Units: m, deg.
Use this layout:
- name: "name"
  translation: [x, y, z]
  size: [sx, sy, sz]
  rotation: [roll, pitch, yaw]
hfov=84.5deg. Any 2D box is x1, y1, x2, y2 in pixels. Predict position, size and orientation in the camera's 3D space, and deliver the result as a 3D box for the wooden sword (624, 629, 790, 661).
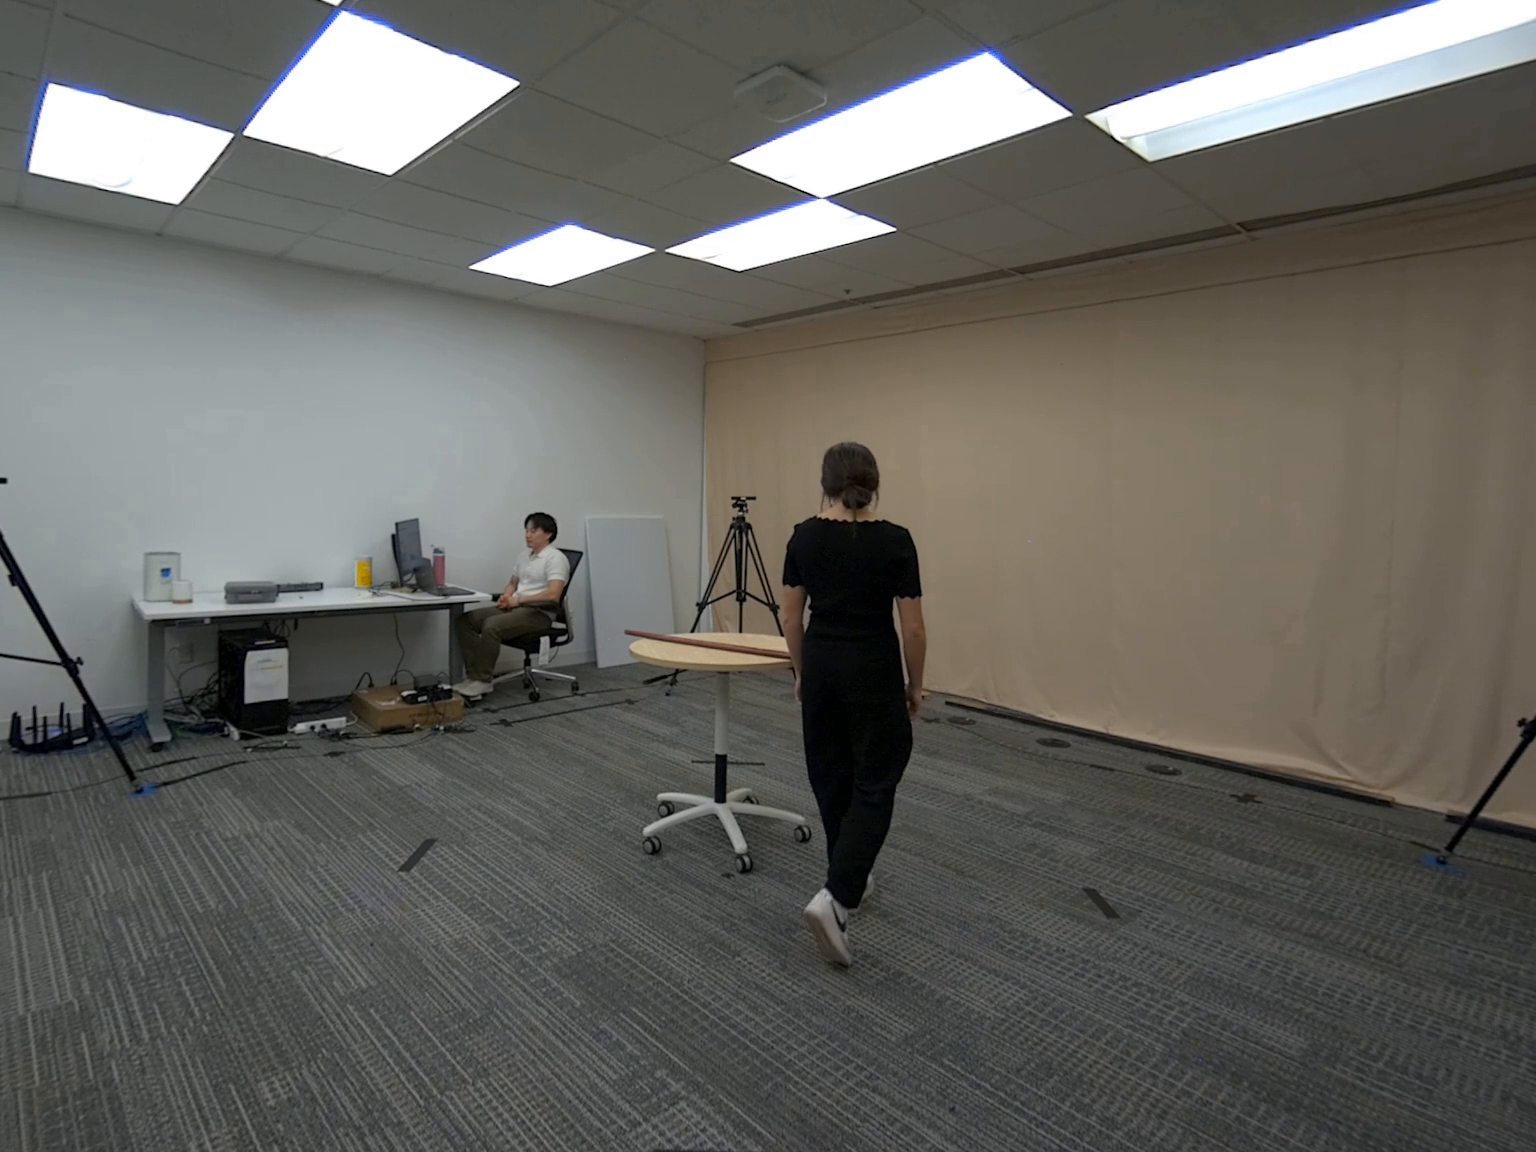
- name: "wooden sword"
  translation: [-0.229, 0.284, 3.400]
  size: [1.049, 0.024, 0.050]
  rotation: [4, 3, 35]
